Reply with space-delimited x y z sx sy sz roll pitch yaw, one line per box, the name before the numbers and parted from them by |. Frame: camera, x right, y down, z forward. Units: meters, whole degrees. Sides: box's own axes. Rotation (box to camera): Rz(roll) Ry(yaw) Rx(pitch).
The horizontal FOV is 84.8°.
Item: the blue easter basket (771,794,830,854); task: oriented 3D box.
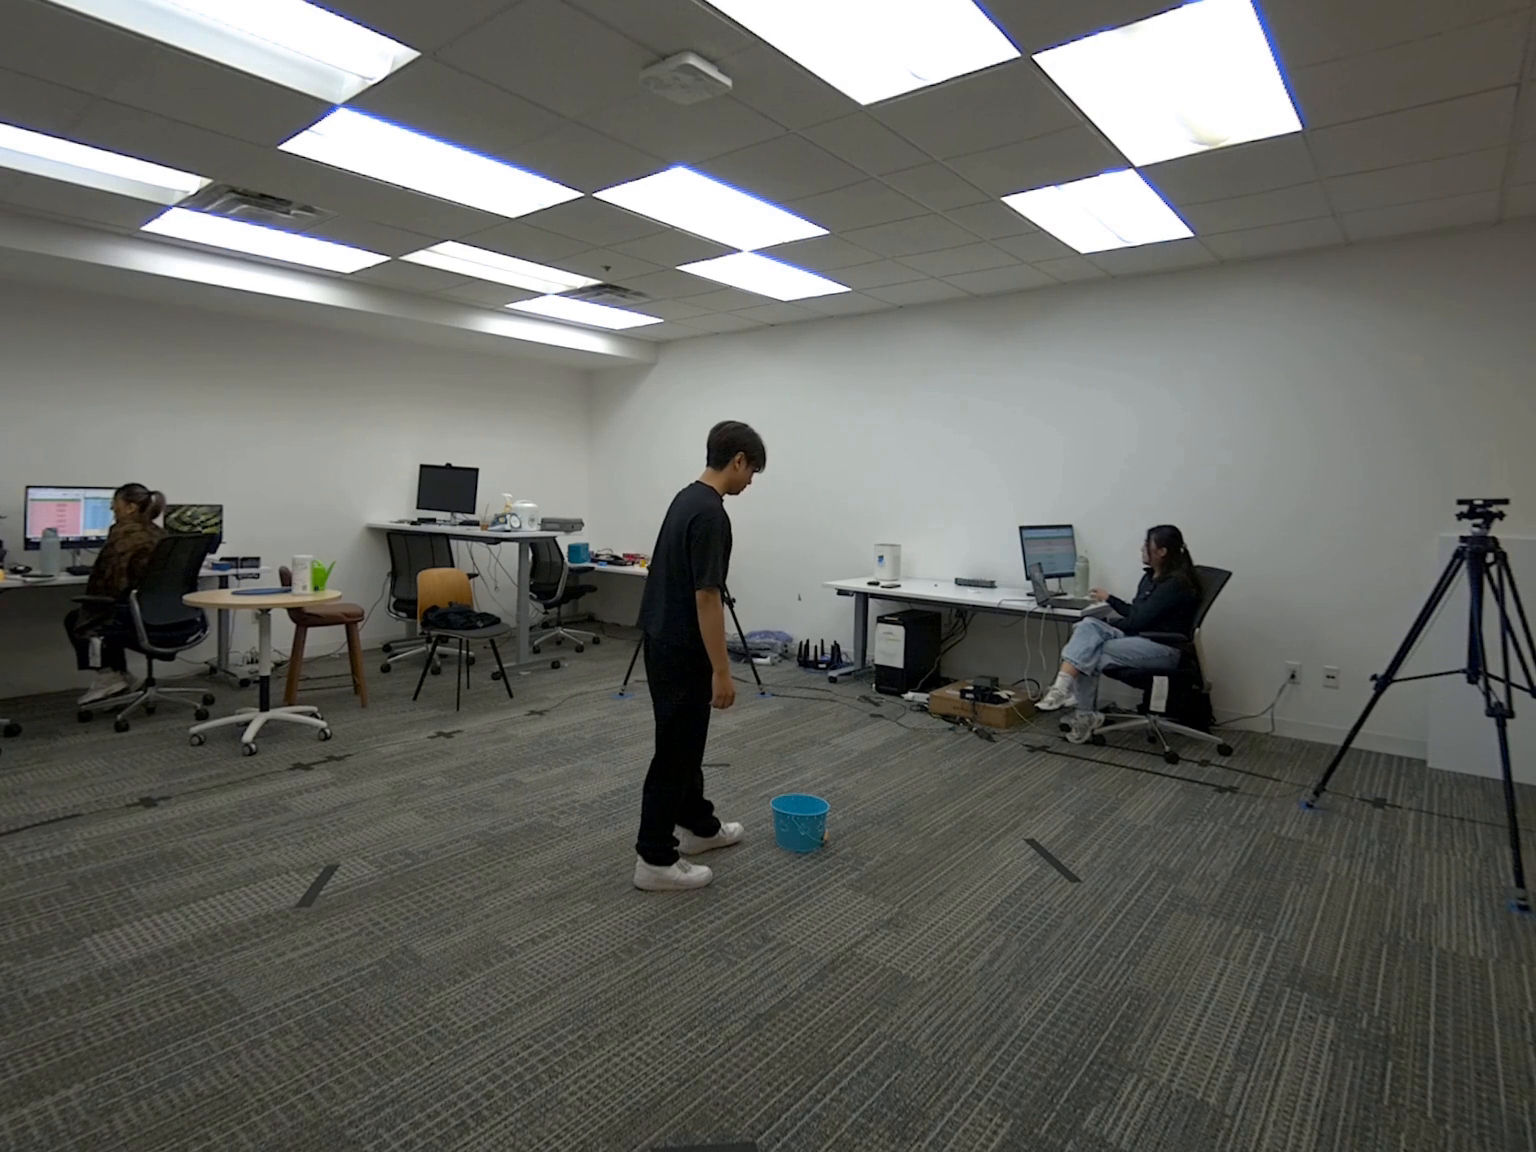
blue easter basket | 0.117 0.977 3.363 0.243 0.155 0.245 1 5 -2
